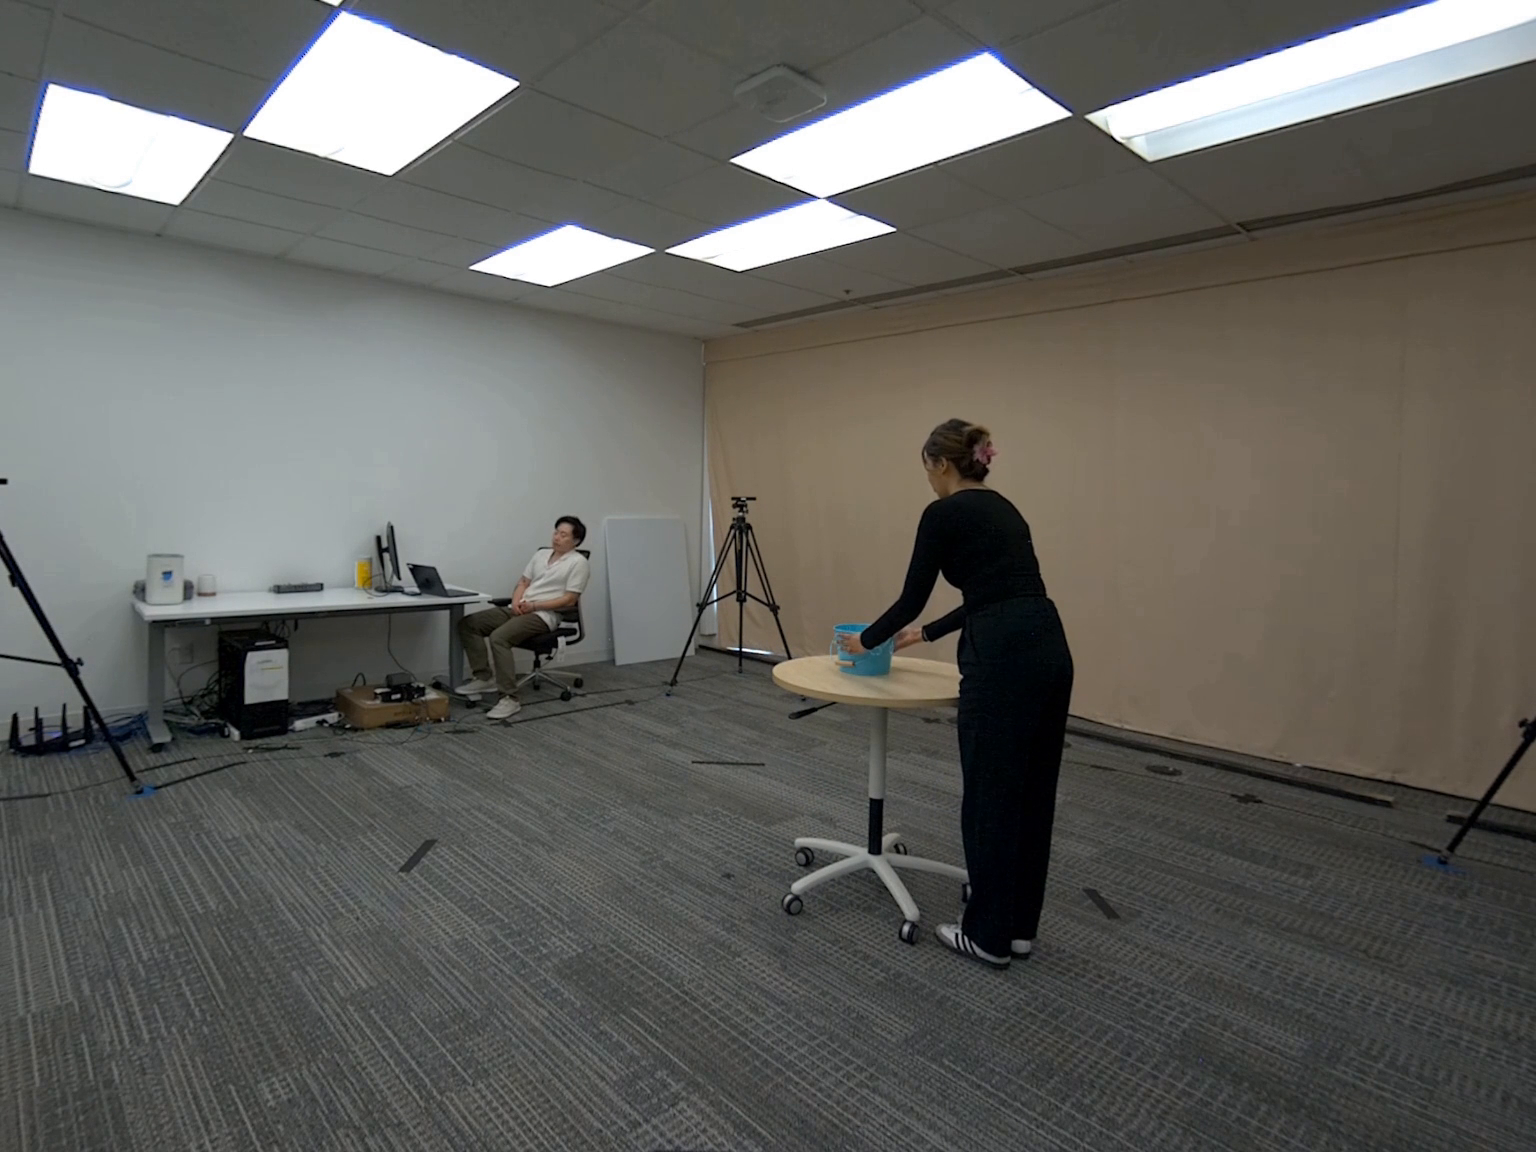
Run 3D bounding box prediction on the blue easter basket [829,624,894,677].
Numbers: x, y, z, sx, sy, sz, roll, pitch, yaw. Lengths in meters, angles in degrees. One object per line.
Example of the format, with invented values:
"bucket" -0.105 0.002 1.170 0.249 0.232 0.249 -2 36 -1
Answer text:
"blue easter basket" 0.344 0.268 3.037 0.243 0.155 0.244 1 5 -1
